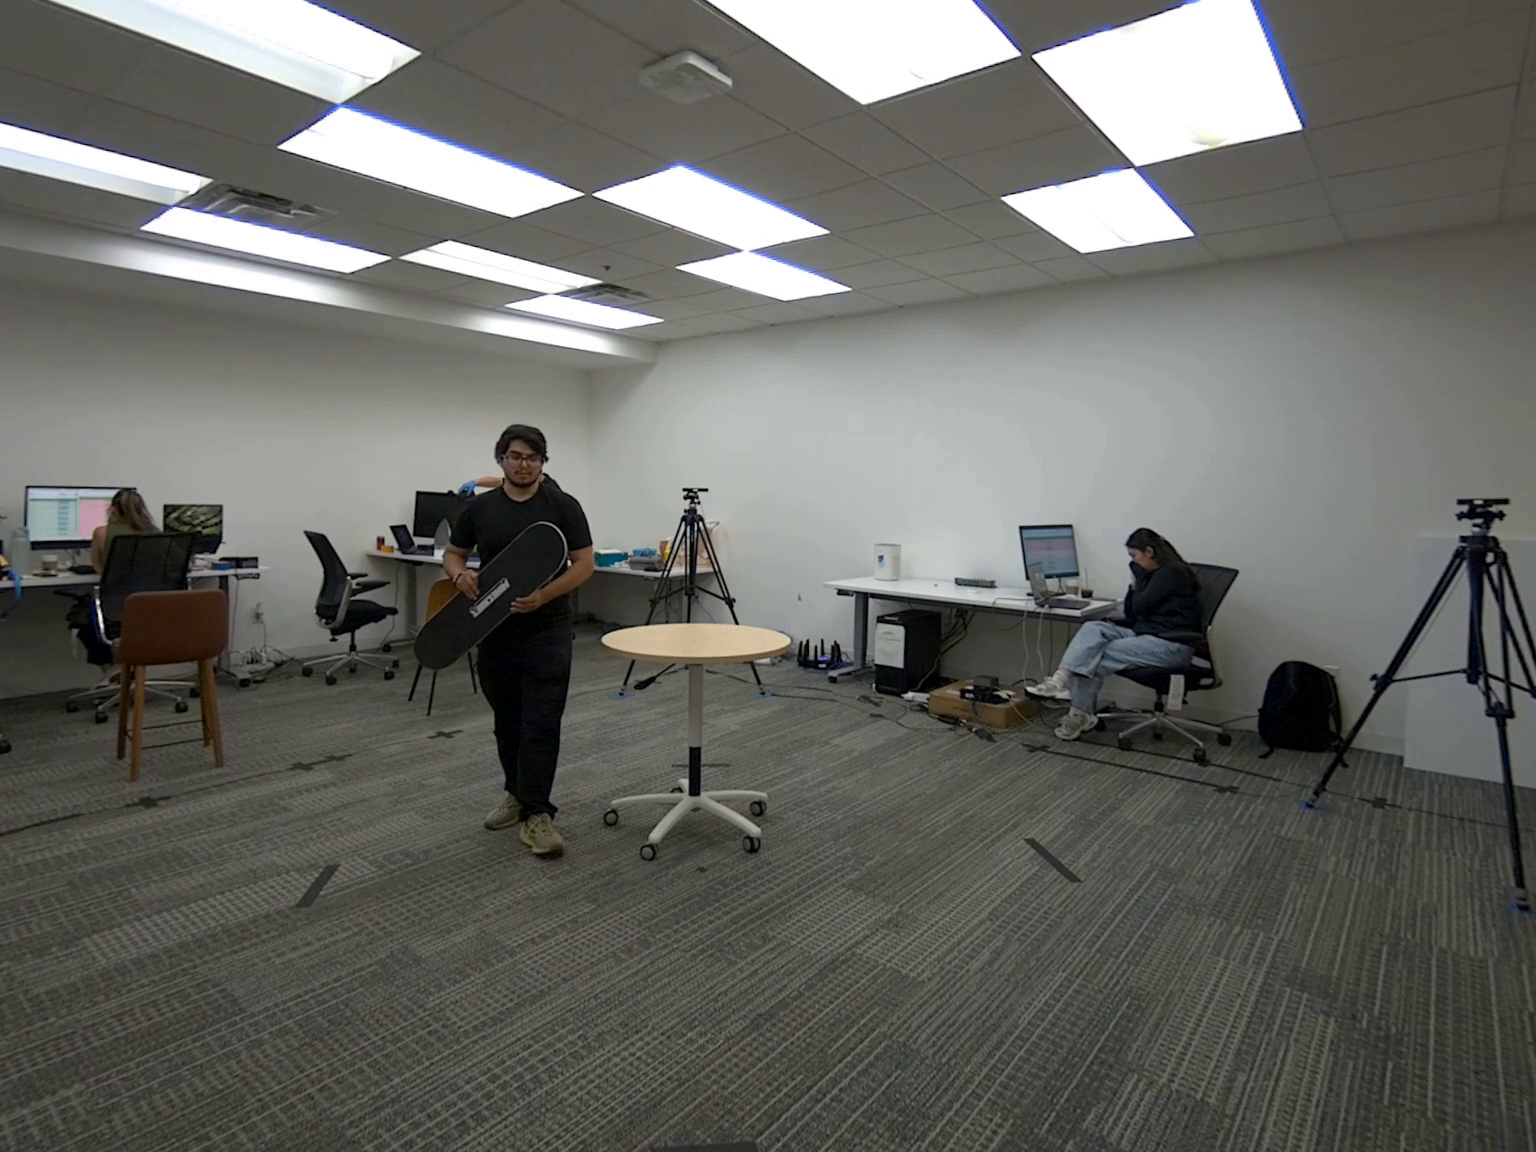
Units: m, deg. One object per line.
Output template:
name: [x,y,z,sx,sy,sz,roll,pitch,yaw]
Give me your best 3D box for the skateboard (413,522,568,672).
skateboard: [-1.059,0.072,3.218,0.788,0.196,0.109,-39,-7,15]
